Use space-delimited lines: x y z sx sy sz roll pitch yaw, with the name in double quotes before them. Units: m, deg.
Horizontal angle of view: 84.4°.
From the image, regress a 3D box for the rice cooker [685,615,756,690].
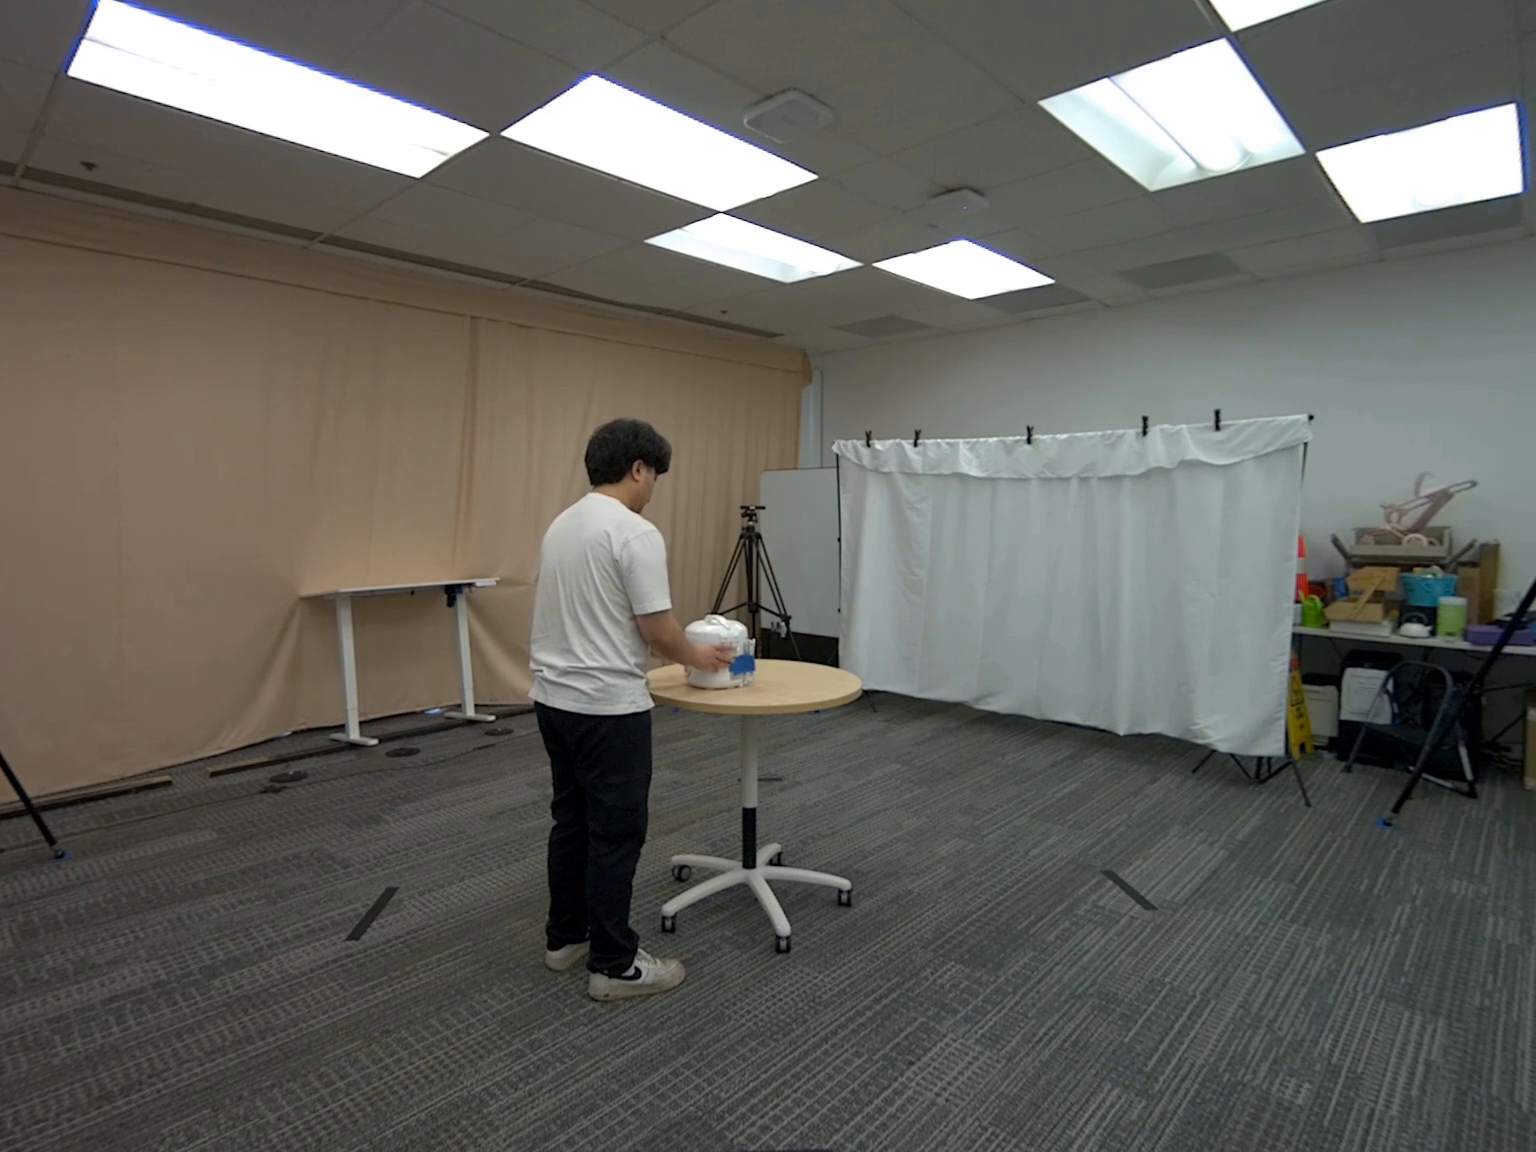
"rice cooker" -0.171 0.247 2.804 0.212 0.232 0.226 -1 3 -27
